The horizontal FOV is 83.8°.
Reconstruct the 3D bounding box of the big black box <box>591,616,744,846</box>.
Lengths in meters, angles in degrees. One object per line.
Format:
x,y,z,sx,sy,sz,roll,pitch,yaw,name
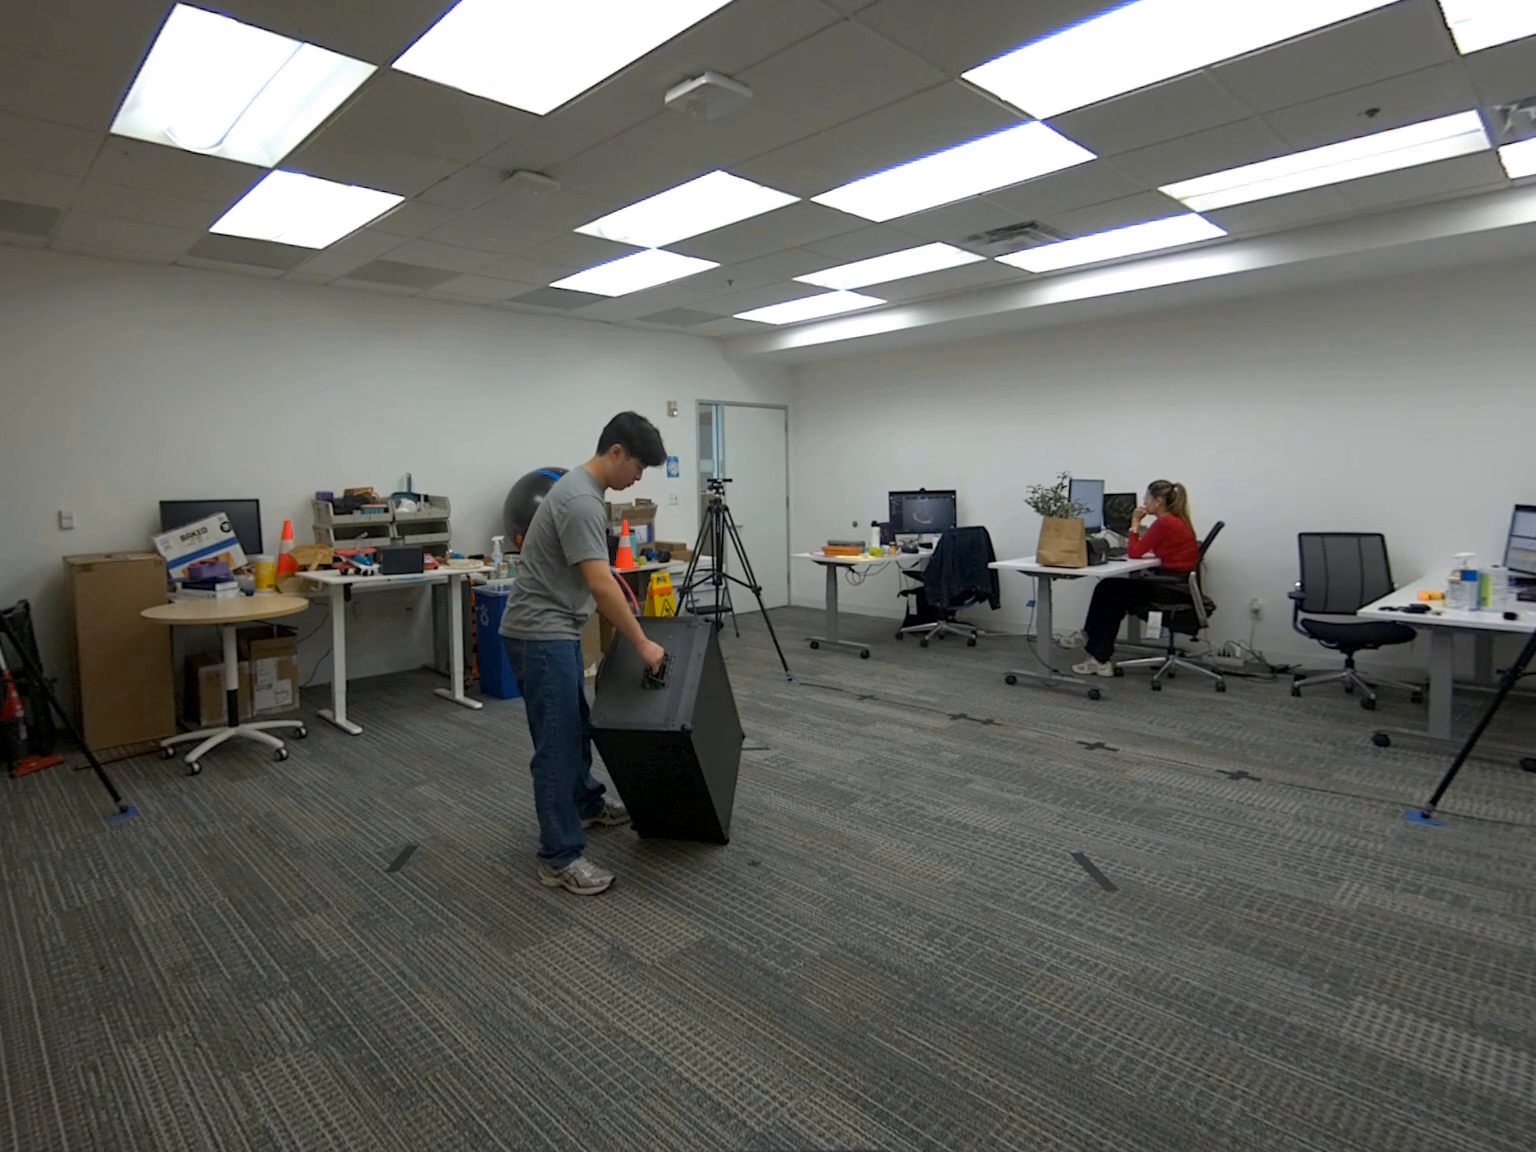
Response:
-0.355,0.614,3.233,0.401,0.833,0.532,0,46,12,big black box
